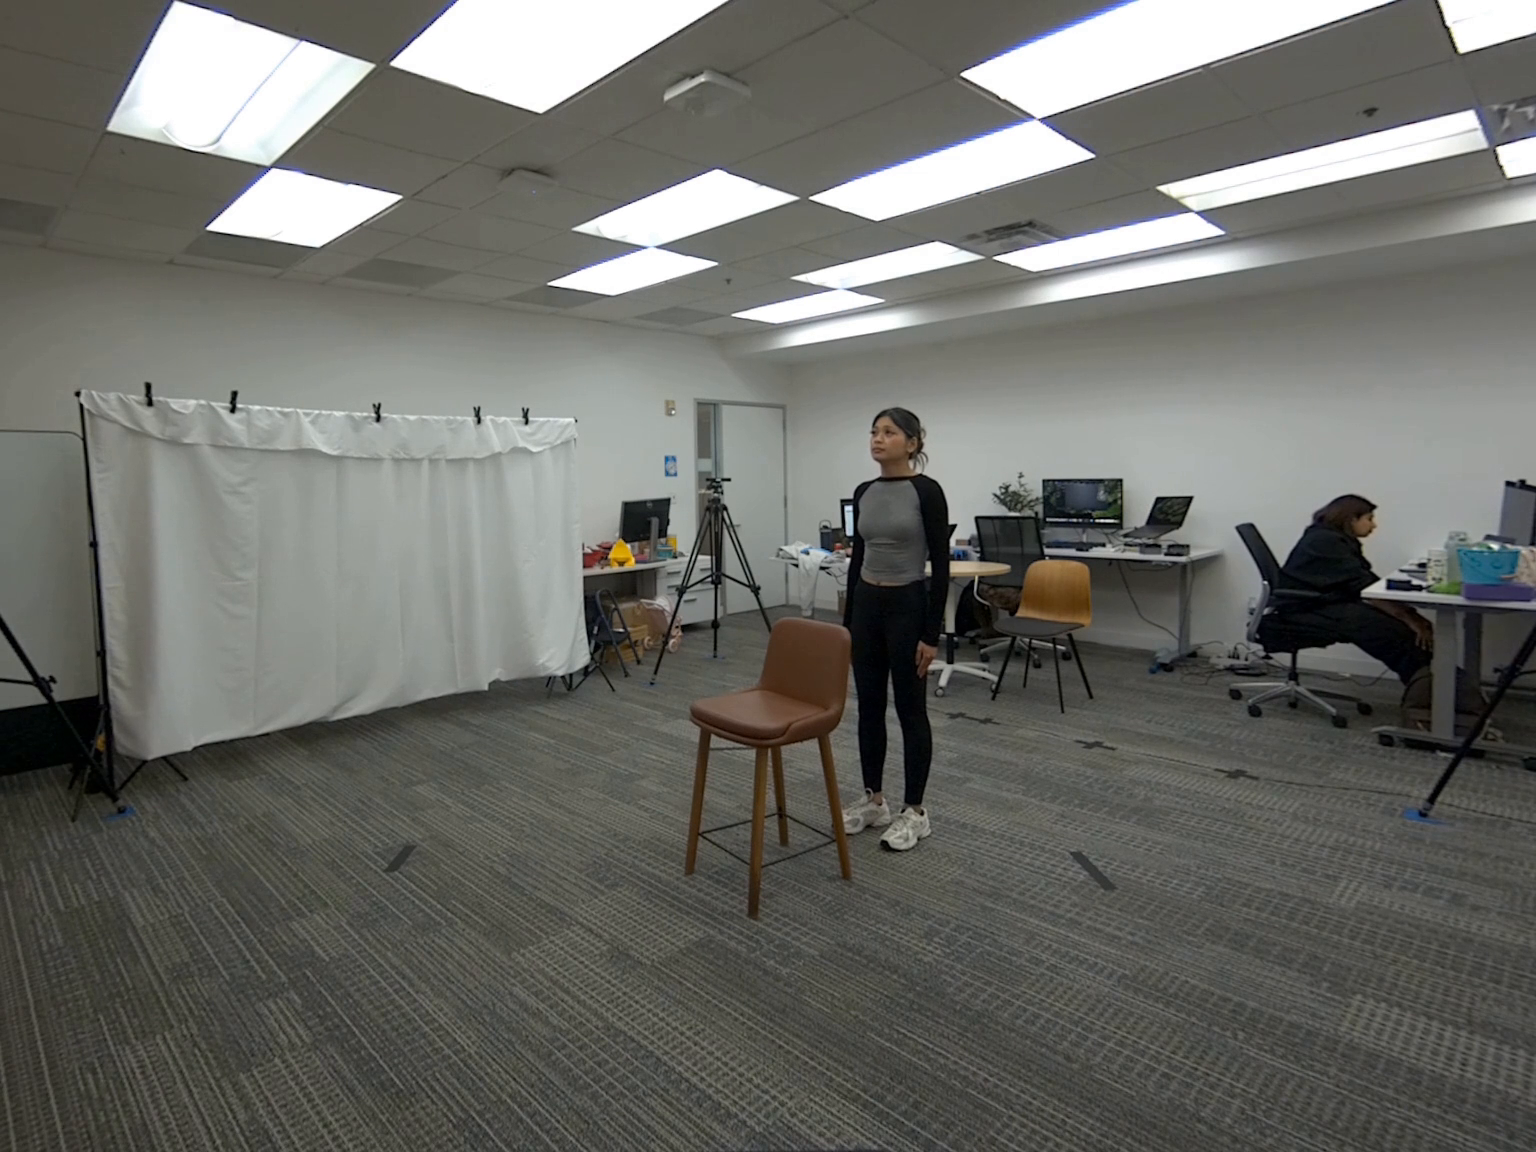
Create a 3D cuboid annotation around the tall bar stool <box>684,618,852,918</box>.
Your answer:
[{"bbox_3d":[0.012,0.618,2.971,0.455,0.888,0.470,-1,3,-37],"label":"tall bar stool"}]
